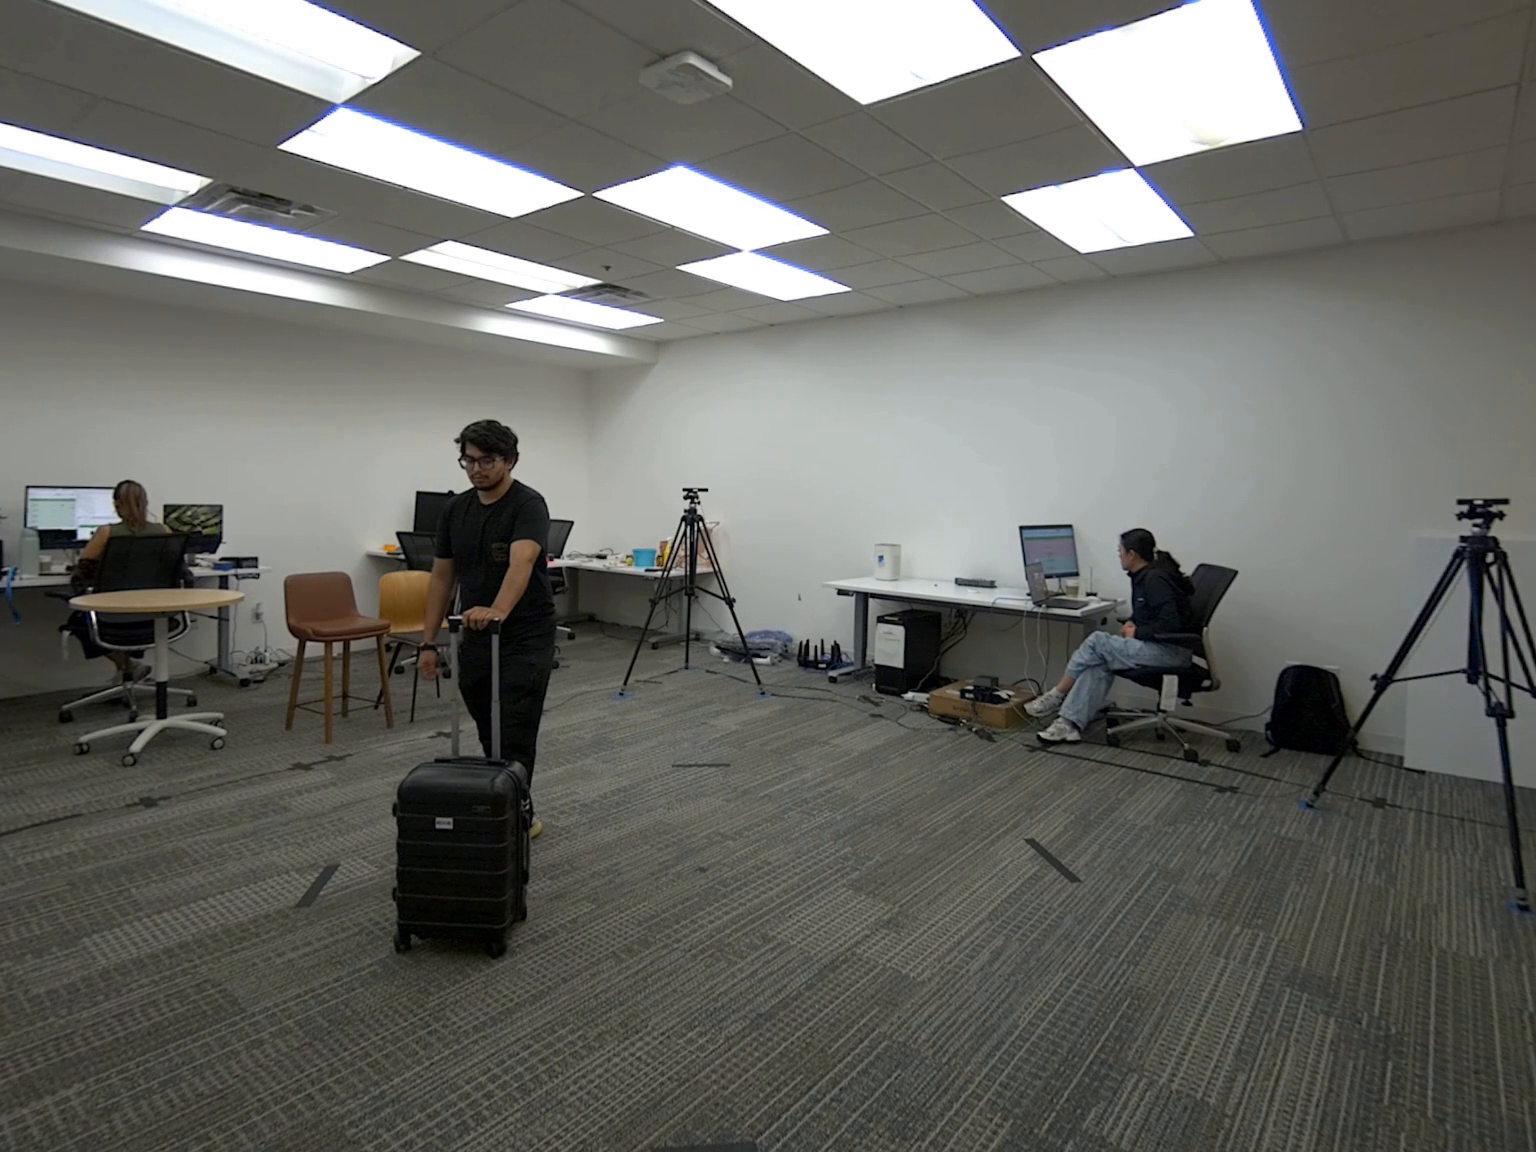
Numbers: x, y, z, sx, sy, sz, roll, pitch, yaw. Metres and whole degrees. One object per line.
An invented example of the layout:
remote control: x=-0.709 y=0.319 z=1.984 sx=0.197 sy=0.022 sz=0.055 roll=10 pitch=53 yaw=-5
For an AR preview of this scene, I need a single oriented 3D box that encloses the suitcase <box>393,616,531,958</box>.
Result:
suitcase: x=-0.932 y=0.634 z=2.574 sx=0.387 sy=0.972 sz=0.257 roll=2 pitch=7 yaw=6
